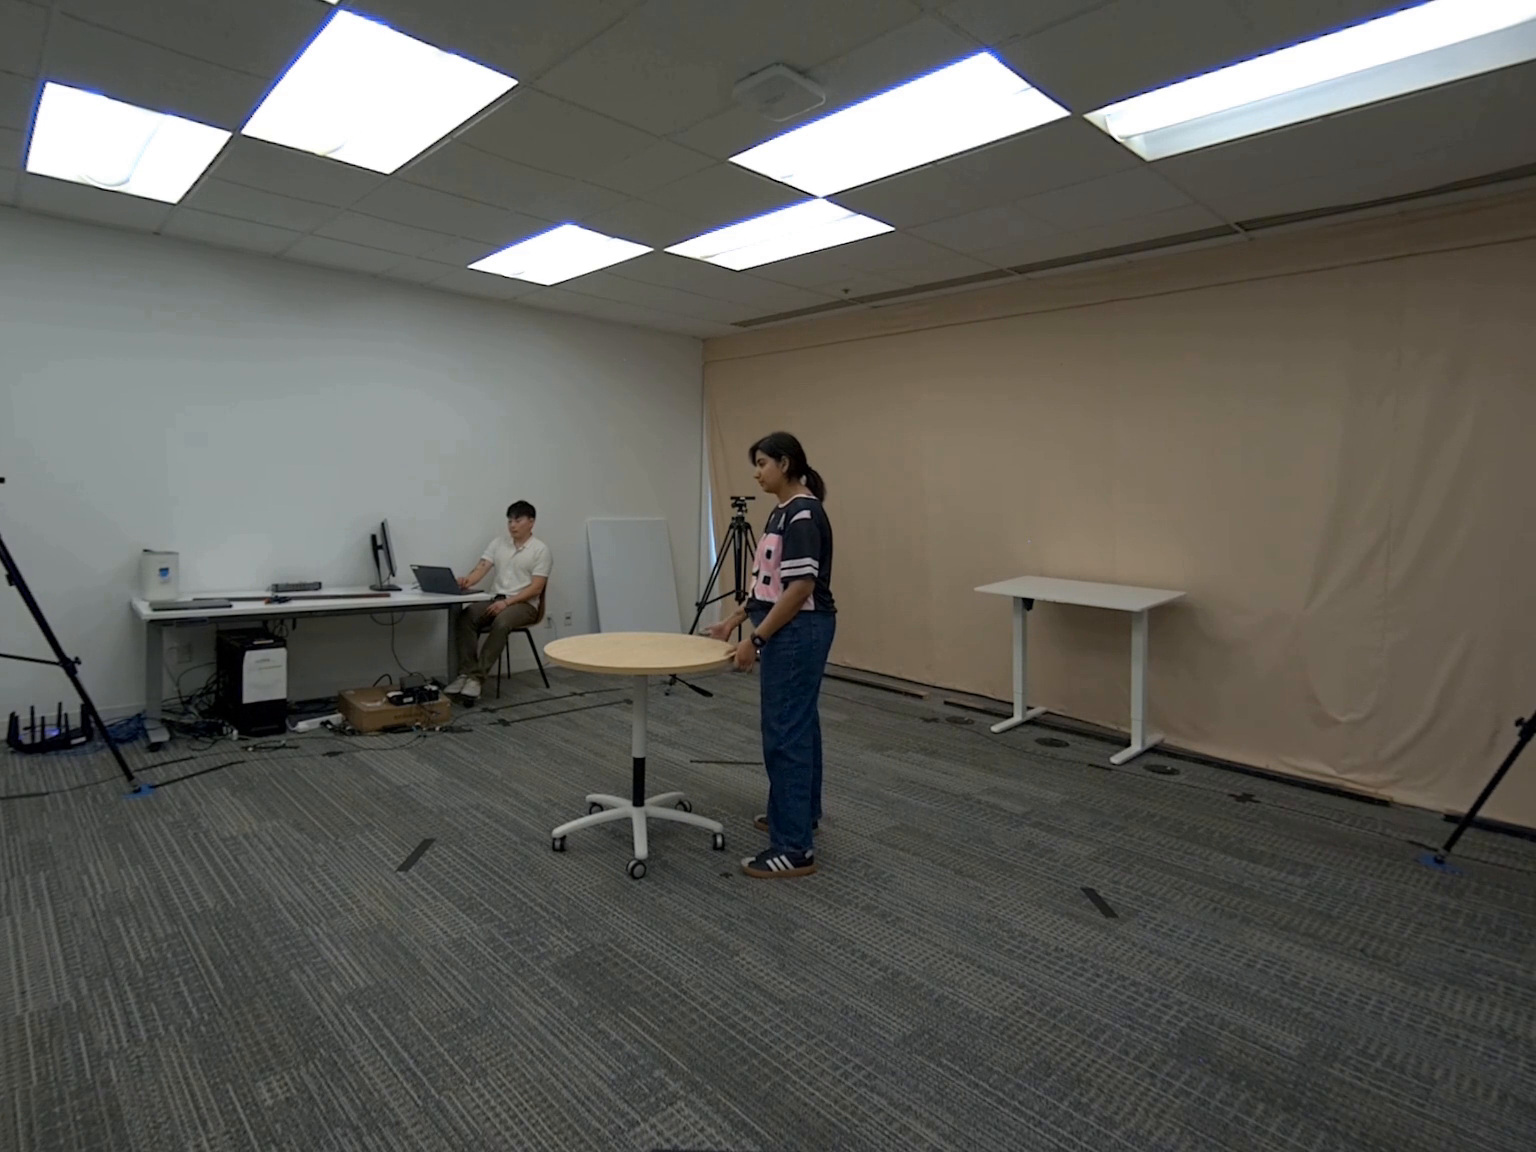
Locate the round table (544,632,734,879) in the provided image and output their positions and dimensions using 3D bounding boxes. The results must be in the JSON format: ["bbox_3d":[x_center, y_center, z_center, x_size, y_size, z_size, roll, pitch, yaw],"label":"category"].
[{"bbox_3d":[-0.522,0.679,3.395,0.763,0.792,0.766,1,4,-1],"label":"round table"}]
